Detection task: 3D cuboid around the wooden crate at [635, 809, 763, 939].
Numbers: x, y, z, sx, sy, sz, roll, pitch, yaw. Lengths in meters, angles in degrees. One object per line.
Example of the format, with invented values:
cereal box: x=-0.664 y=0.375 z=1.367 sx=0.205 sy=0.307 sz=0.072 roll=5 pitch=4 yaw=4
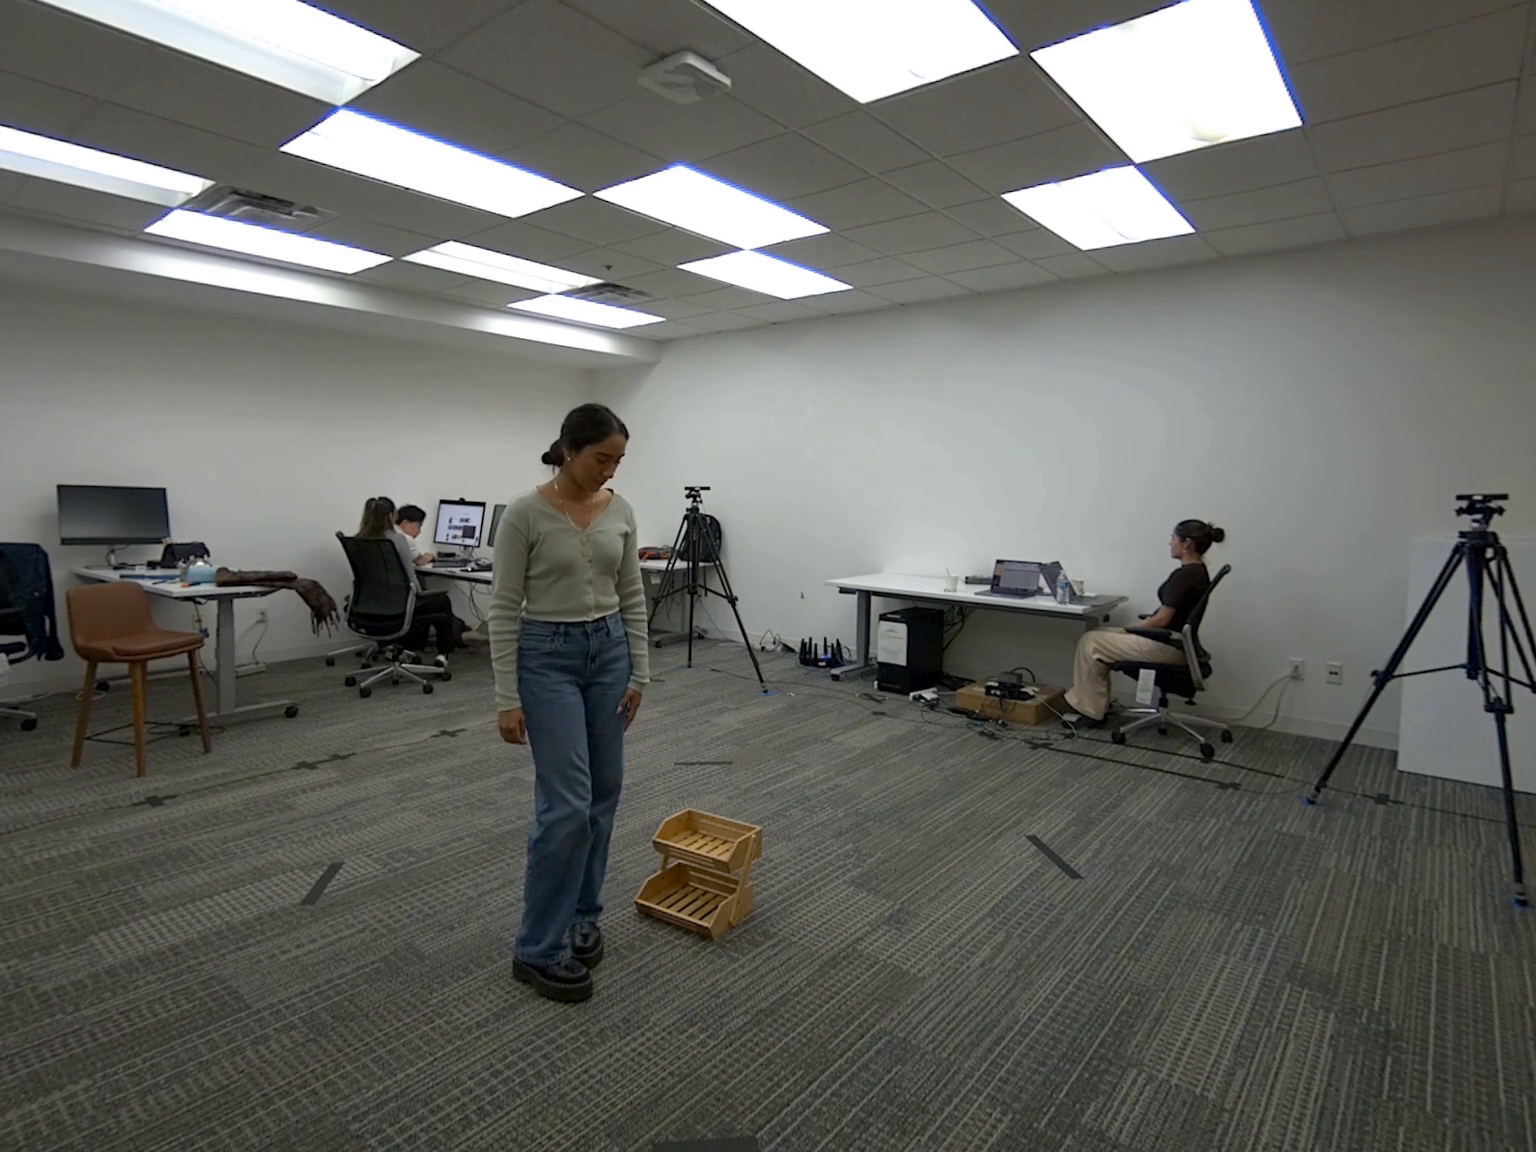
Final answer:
wooden crate: x=-0.236 y=0.962 z=2.793 sx=0.334 sy=0.273 sz=0.294 roll=3 pitch=4 yaw=31
